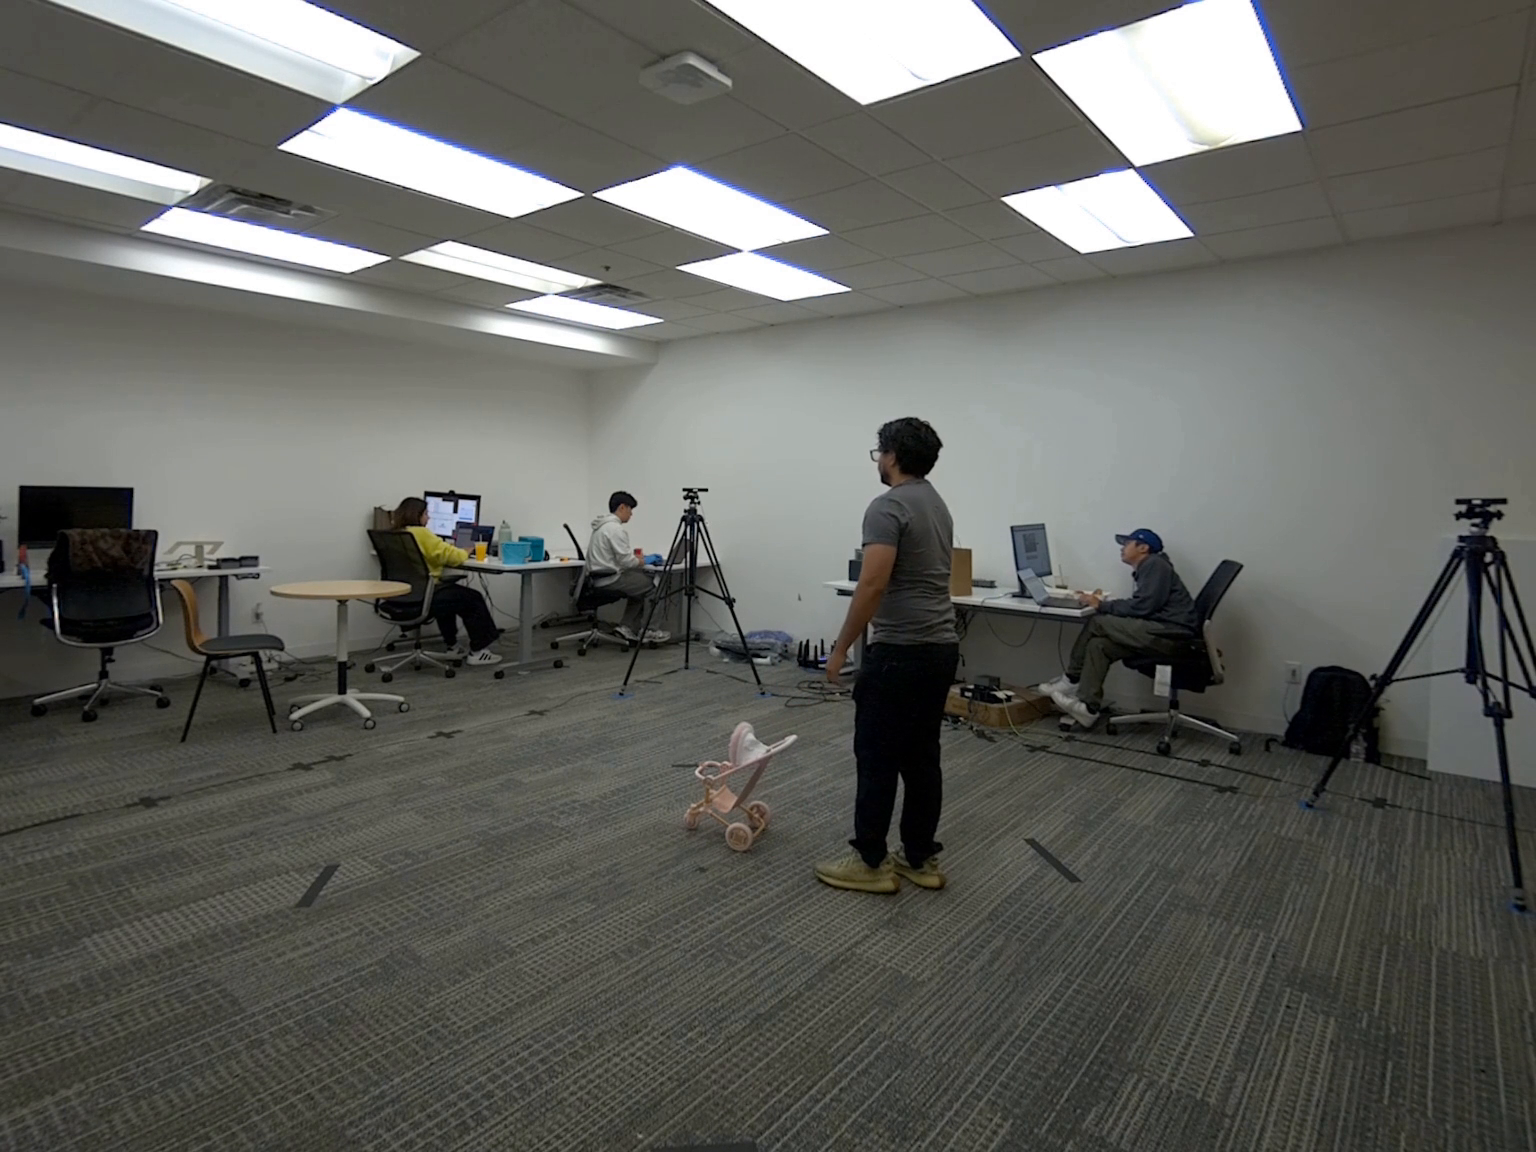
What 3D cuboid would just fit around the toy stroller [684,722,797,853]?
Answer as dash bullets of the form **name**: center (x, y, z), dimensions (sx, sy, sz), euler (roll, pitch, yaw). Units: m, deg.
- **toy stroller**: center (-0.138, 0.823, 3.408), dimensions (0.351, 0.532, 0.275), euler (21, 10, 22)
